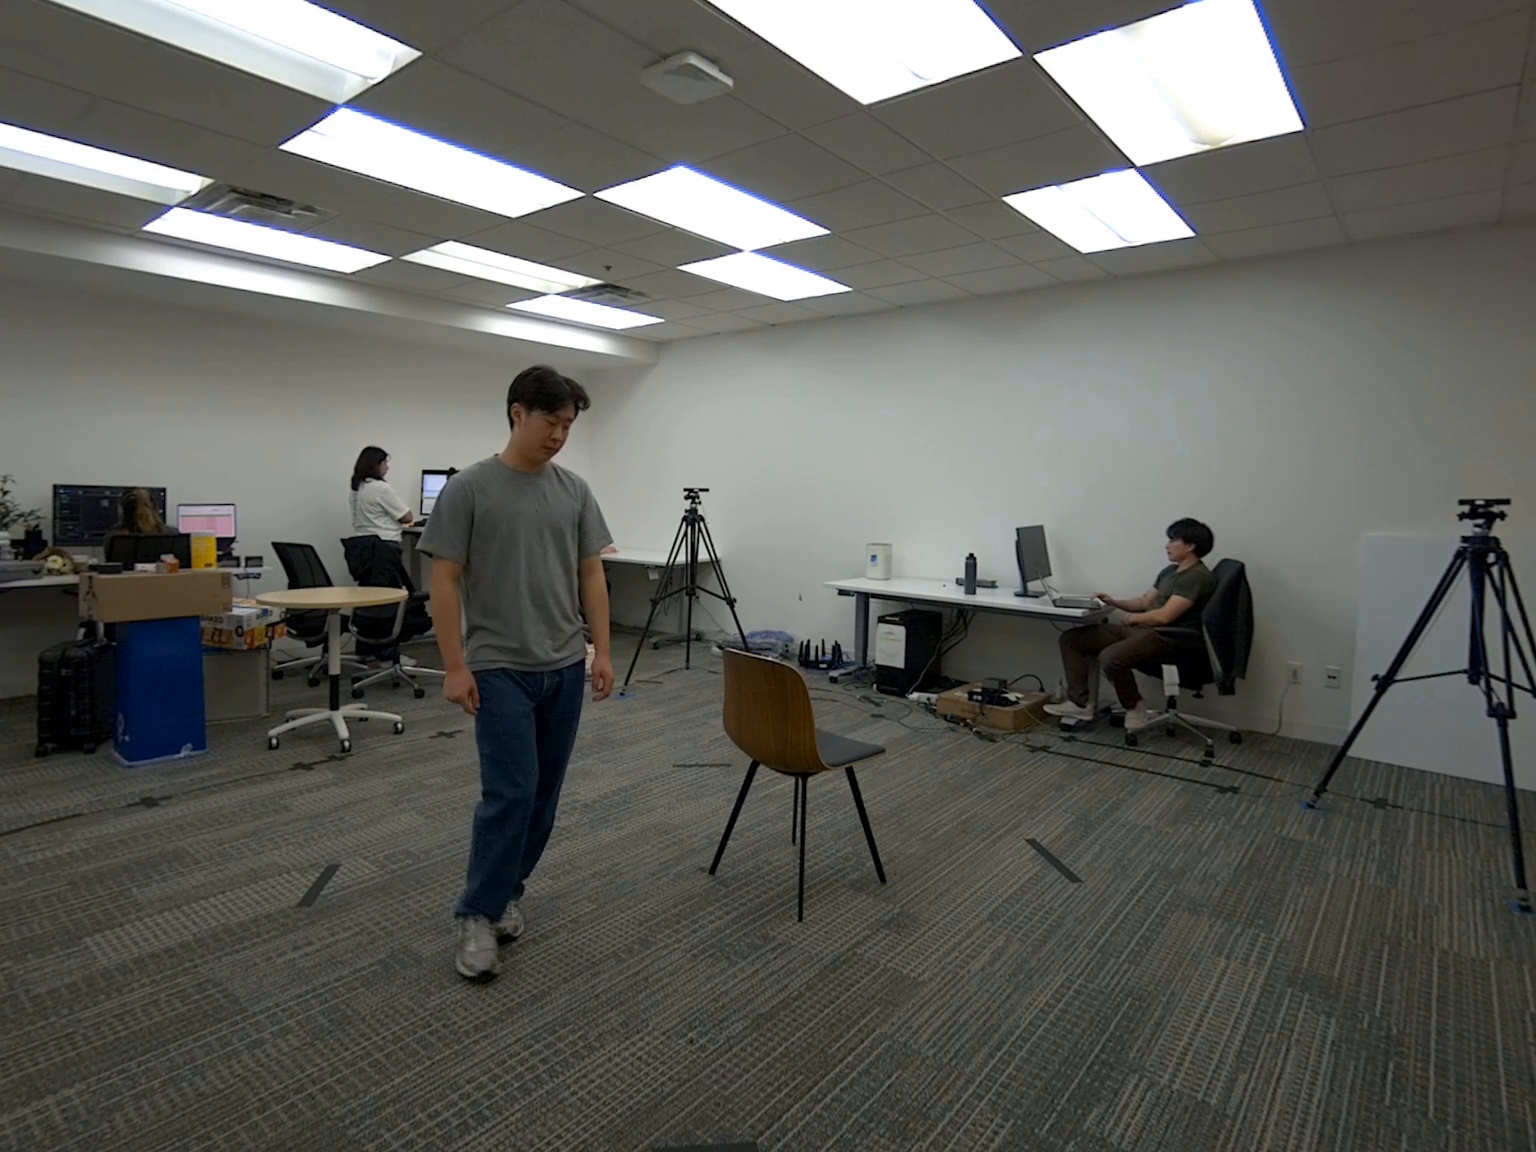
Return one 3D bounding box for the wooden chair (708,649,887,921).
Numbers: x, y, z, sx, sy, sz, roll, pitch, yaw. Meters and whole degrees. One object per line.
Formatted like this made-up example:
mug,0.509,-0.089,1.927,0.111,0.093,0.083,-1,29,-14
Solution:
wooden chair,0.109,0.657,3.035,0.509,0.872,0.494,-8,8,-43
